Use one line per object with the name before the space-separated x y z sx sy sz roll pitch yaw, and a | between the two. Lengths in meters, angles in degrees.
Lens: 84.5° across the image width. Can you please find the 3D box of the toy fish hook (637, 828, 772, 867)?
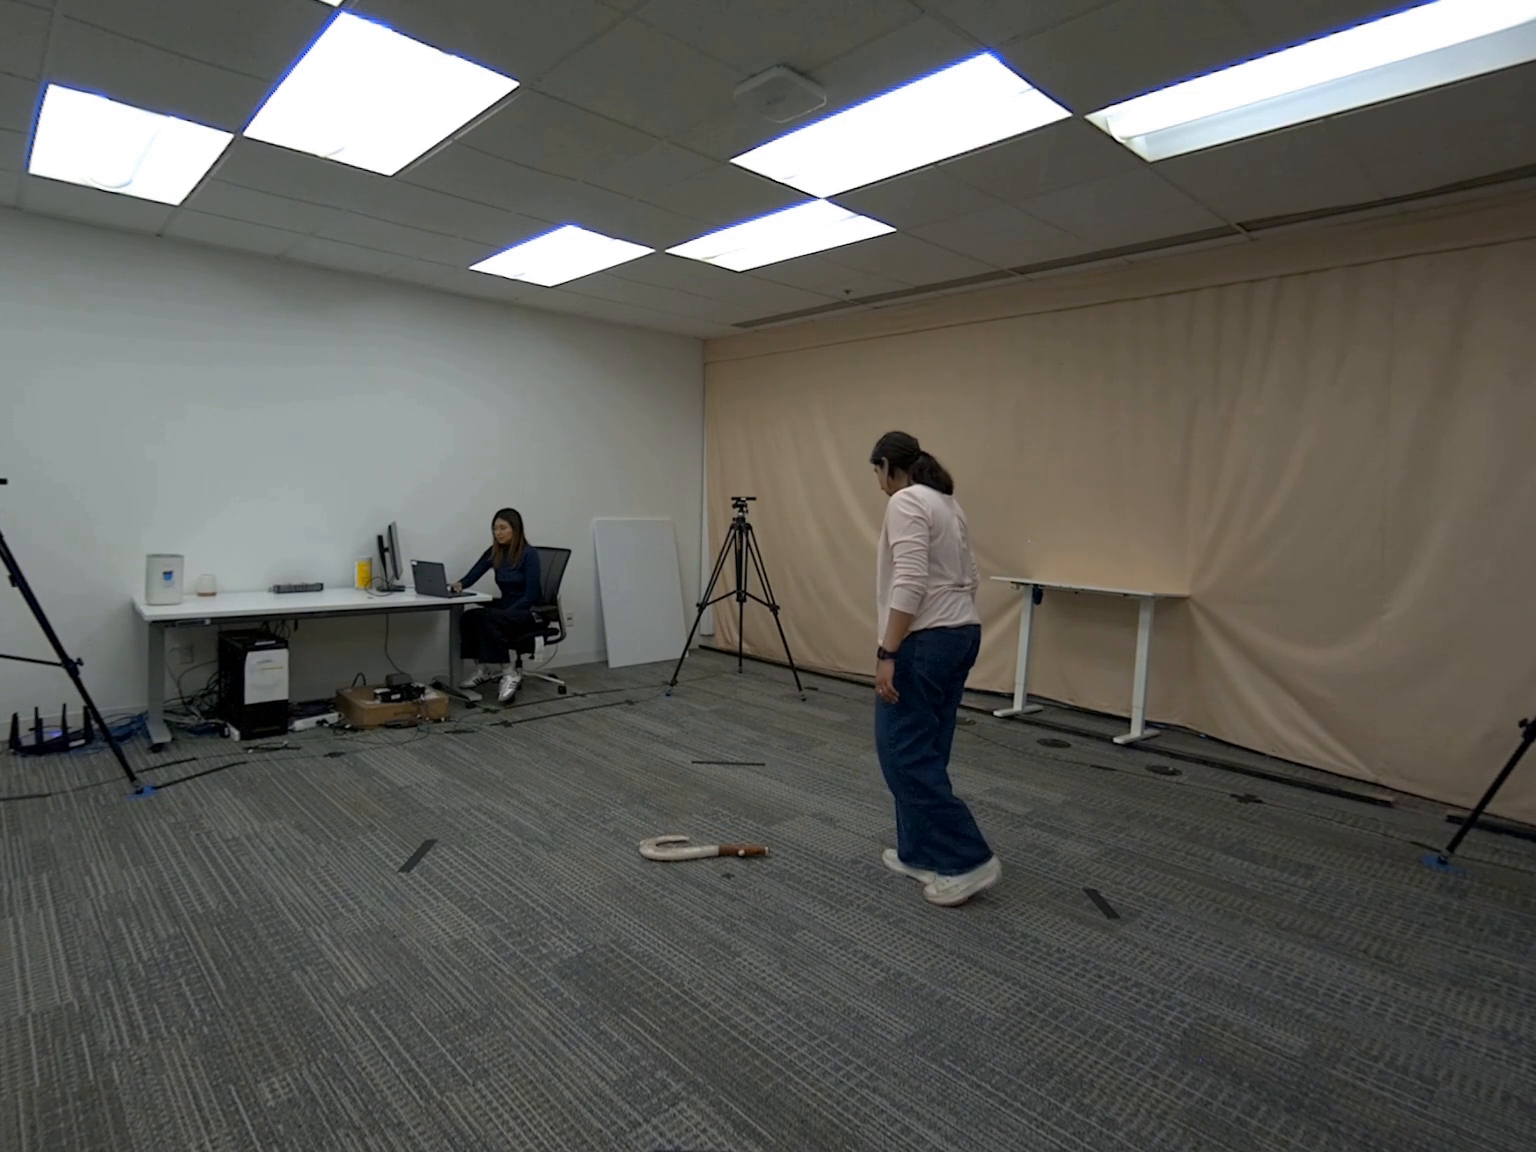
toy fish hook | -0.252 1.057 3.312 0.505 0.048 0.226 1 6 -4
